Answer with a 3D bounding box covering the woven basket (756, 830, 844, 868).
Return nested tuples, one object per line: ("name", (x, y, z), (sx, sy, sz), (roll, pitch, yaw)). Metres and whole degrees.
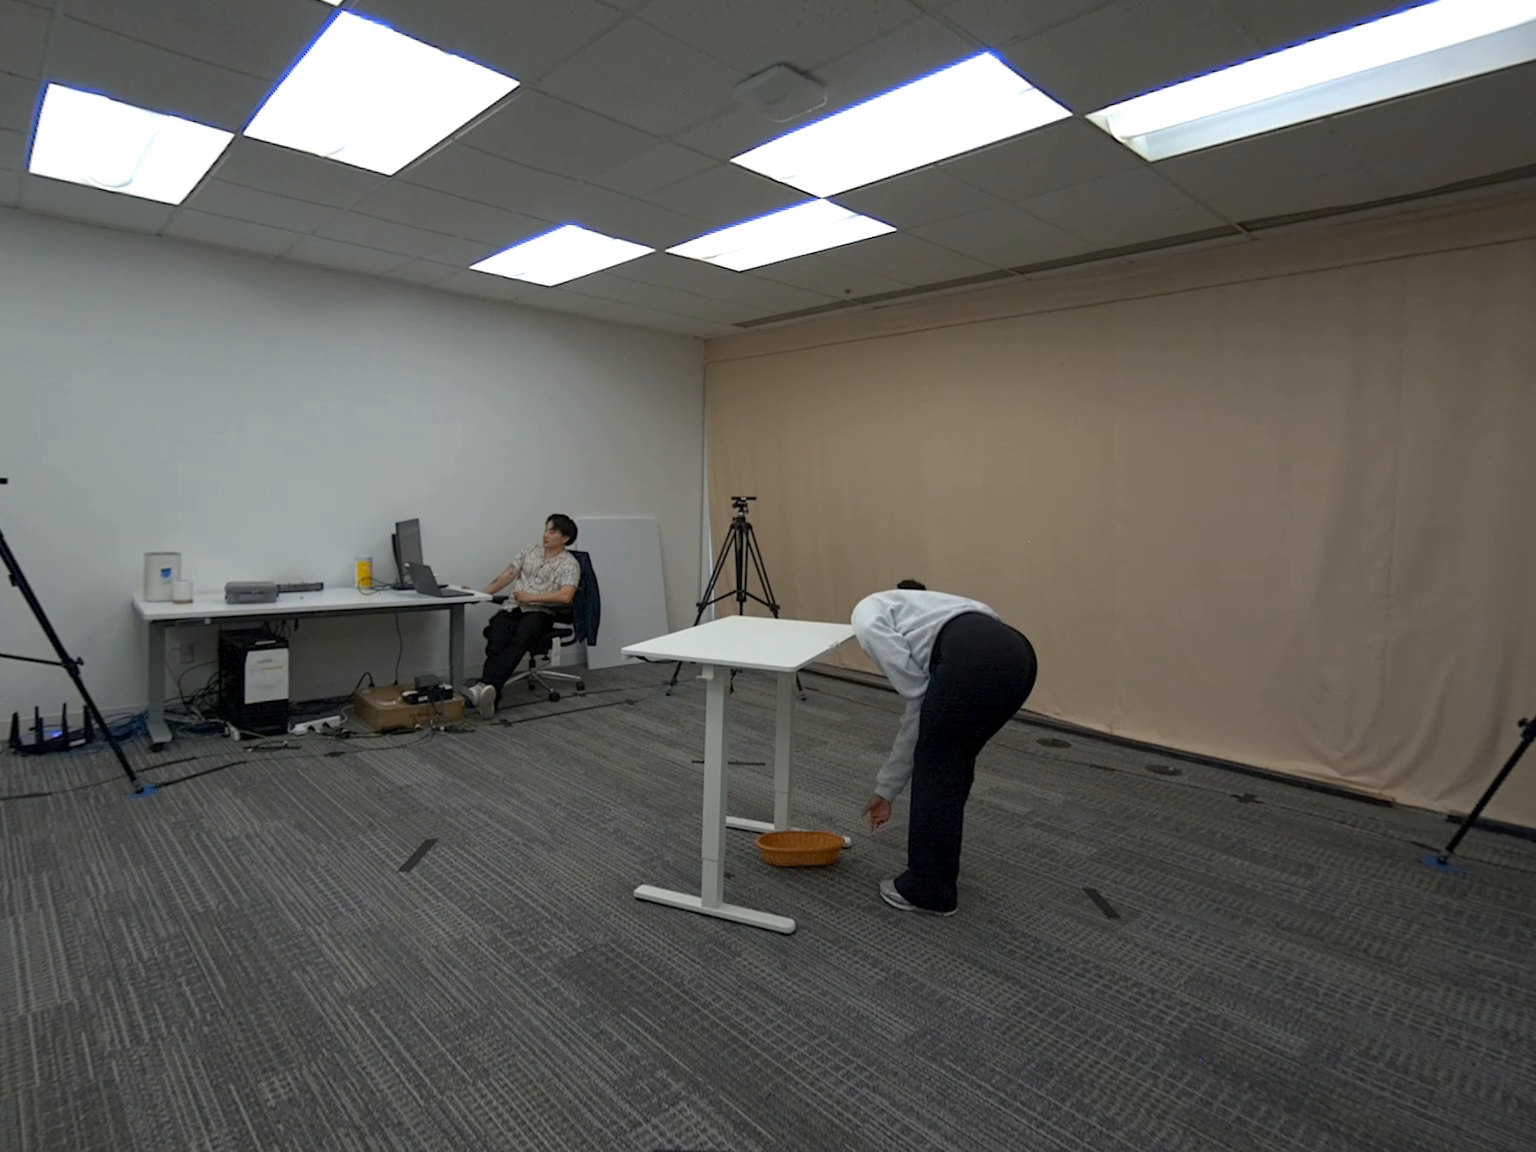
("woven basket", (0.126, 1.042, 3.240), (0.352, 0.073, 0.251), (-1, 1, 7))
